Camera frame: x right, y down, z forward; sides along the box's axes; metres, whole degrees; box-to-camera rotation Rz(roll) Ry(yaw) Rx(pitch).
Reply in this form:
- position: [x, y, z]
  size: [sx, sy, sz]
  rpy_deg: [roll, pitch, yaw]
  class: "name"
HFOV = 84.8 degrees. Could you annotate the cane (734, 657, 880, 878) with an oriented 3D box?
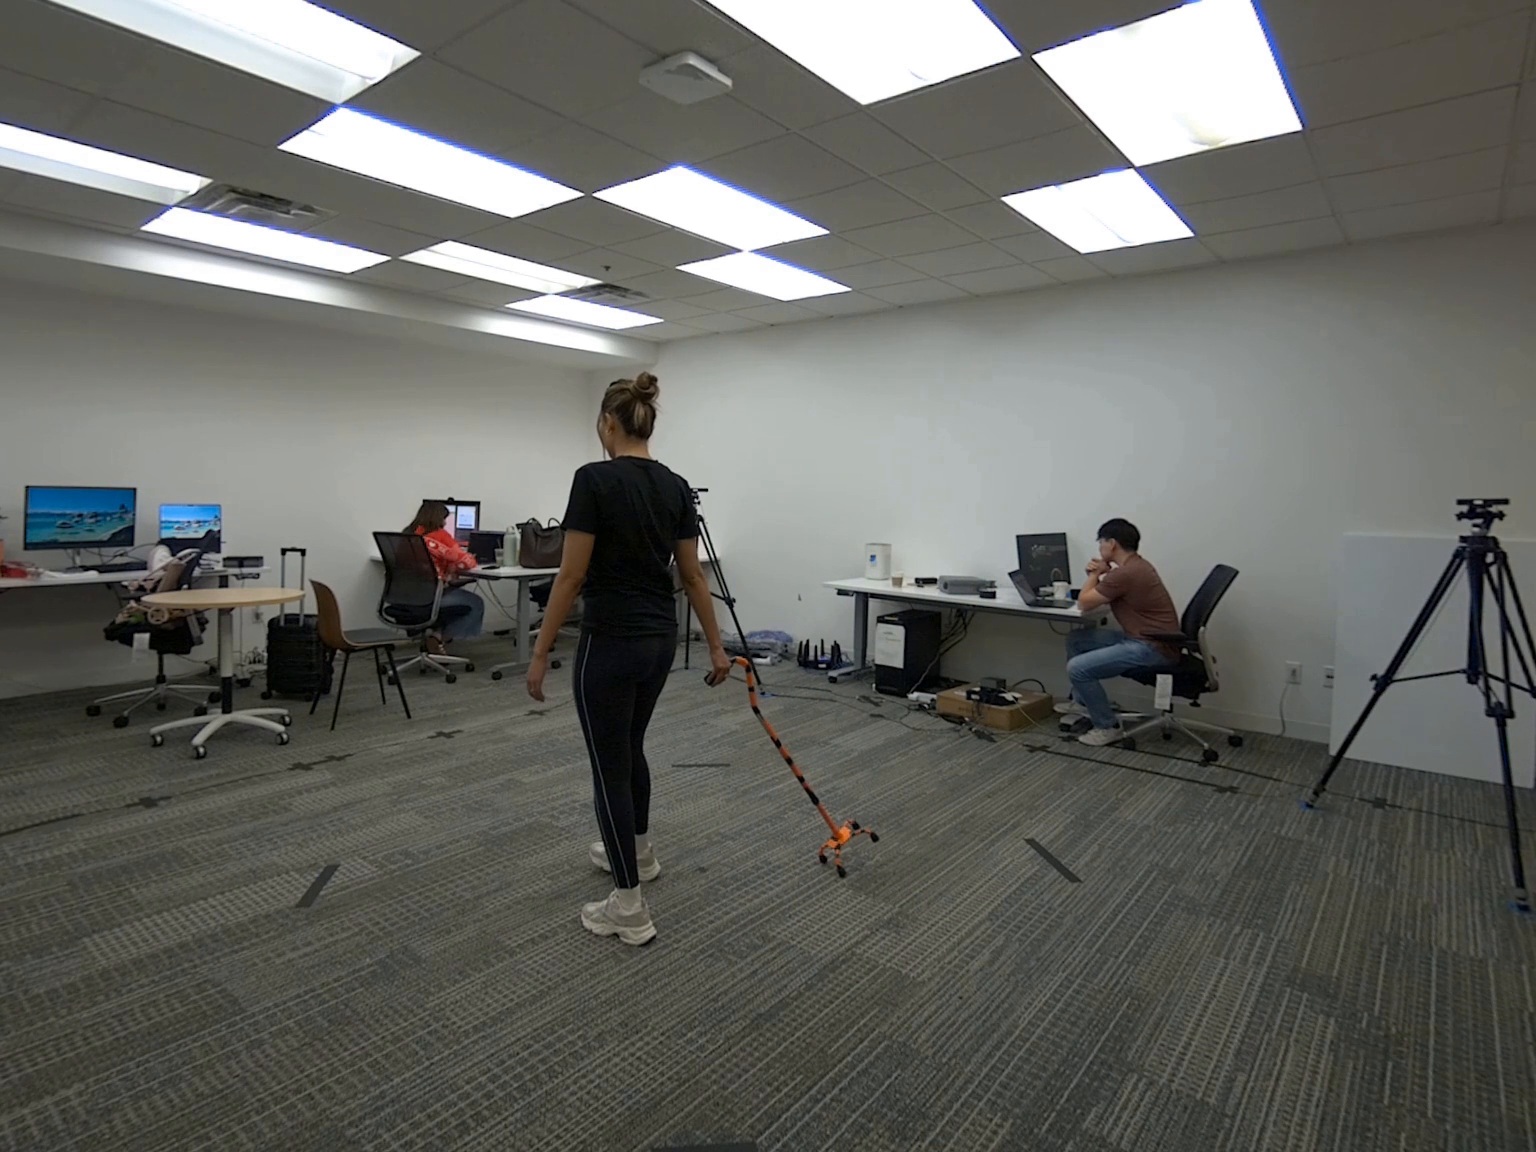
- position: [0.075, 0.657, 3.043]
  size: [0.205, 0.889, 0.155]
  rpy_deg: [-39, 17, -21]
  class: "cane"
